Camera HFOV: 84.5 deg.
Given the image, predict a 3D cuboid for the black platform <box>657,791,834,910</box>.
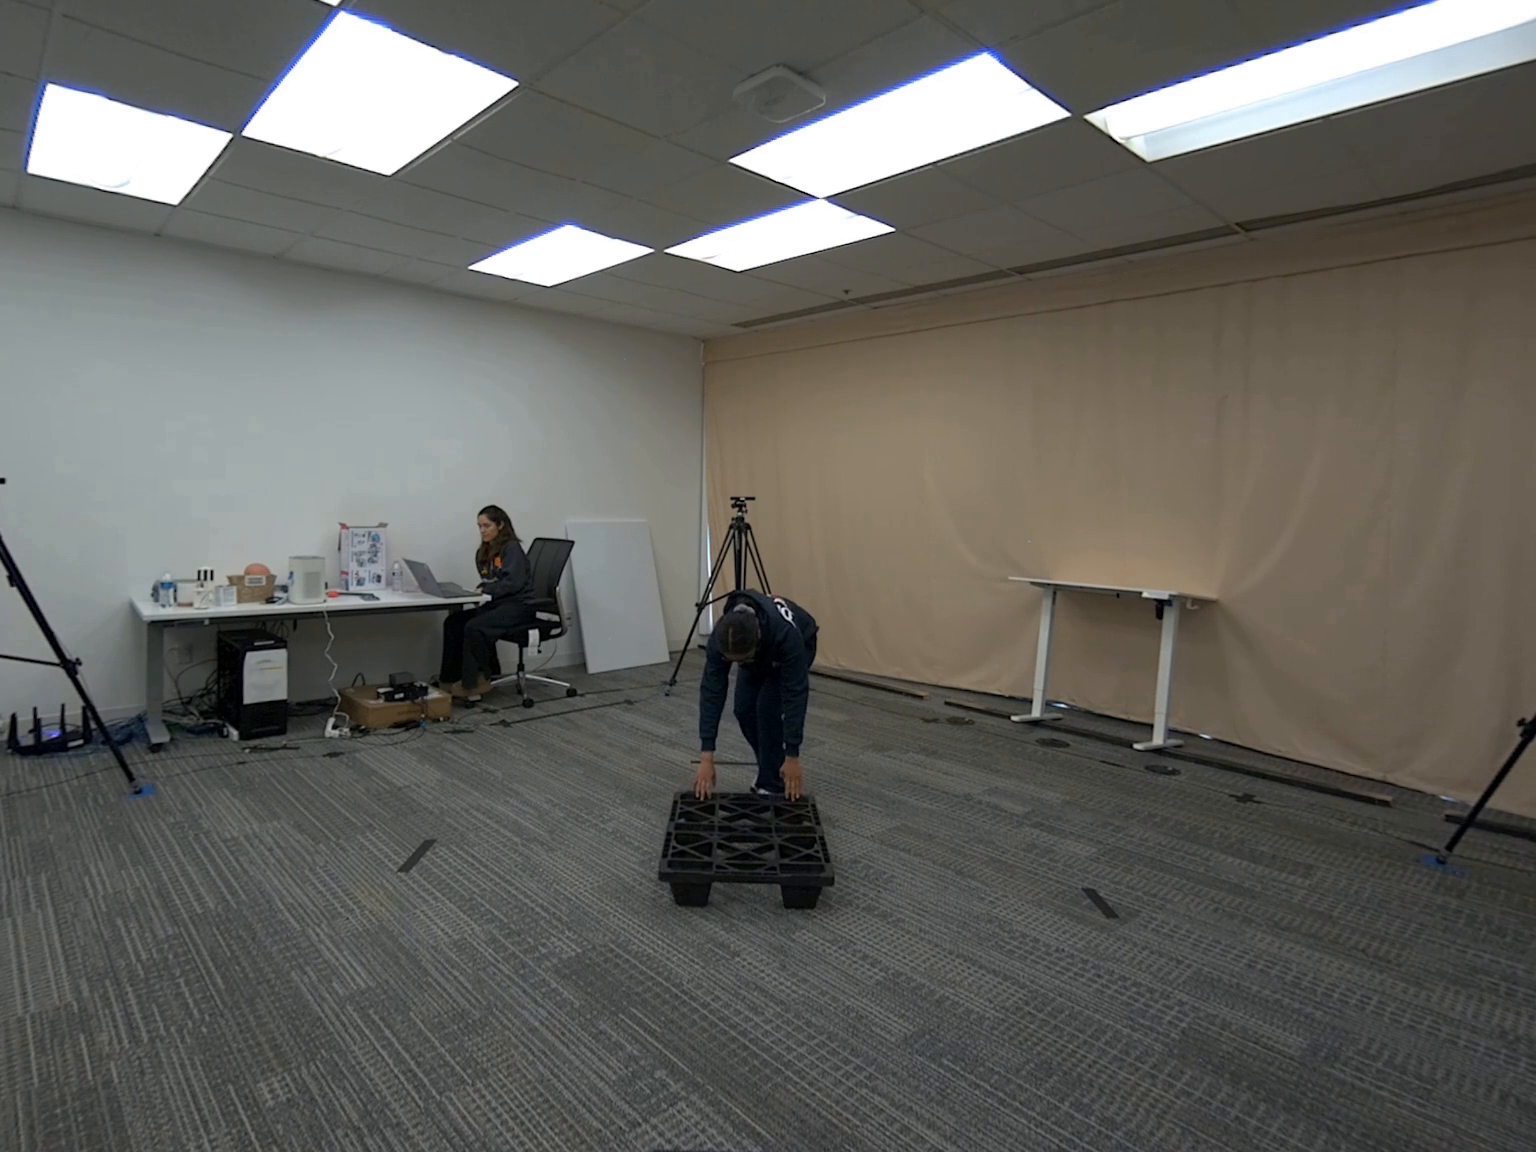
[{"bbox_3d":[-0.094,1.028,3.221,0.605,0.143,0.808,2,5,-2],"label":"black platform"}]
